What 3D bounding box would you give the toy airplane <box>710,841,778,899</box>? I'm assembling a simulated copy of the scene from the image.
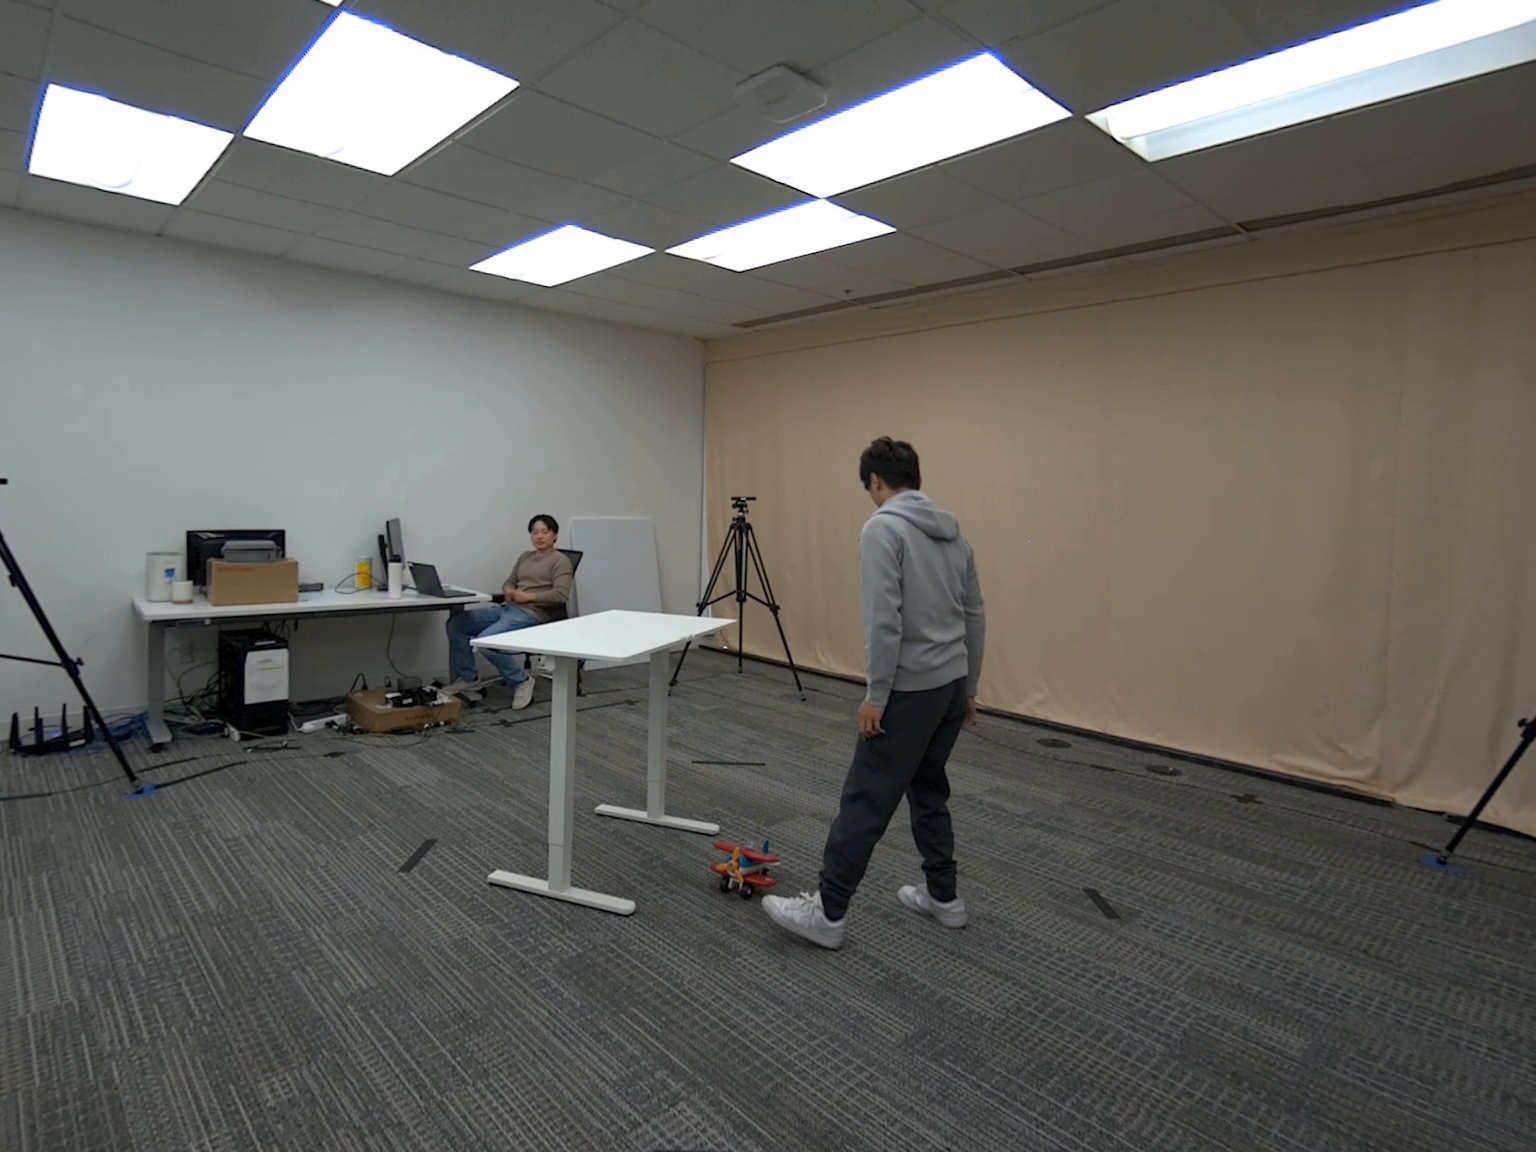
[{"bbox_3d":[-0.089,1.039,3.032,0.252,0.156,0.259,1,6,3],"label":"toy airplane"}]
